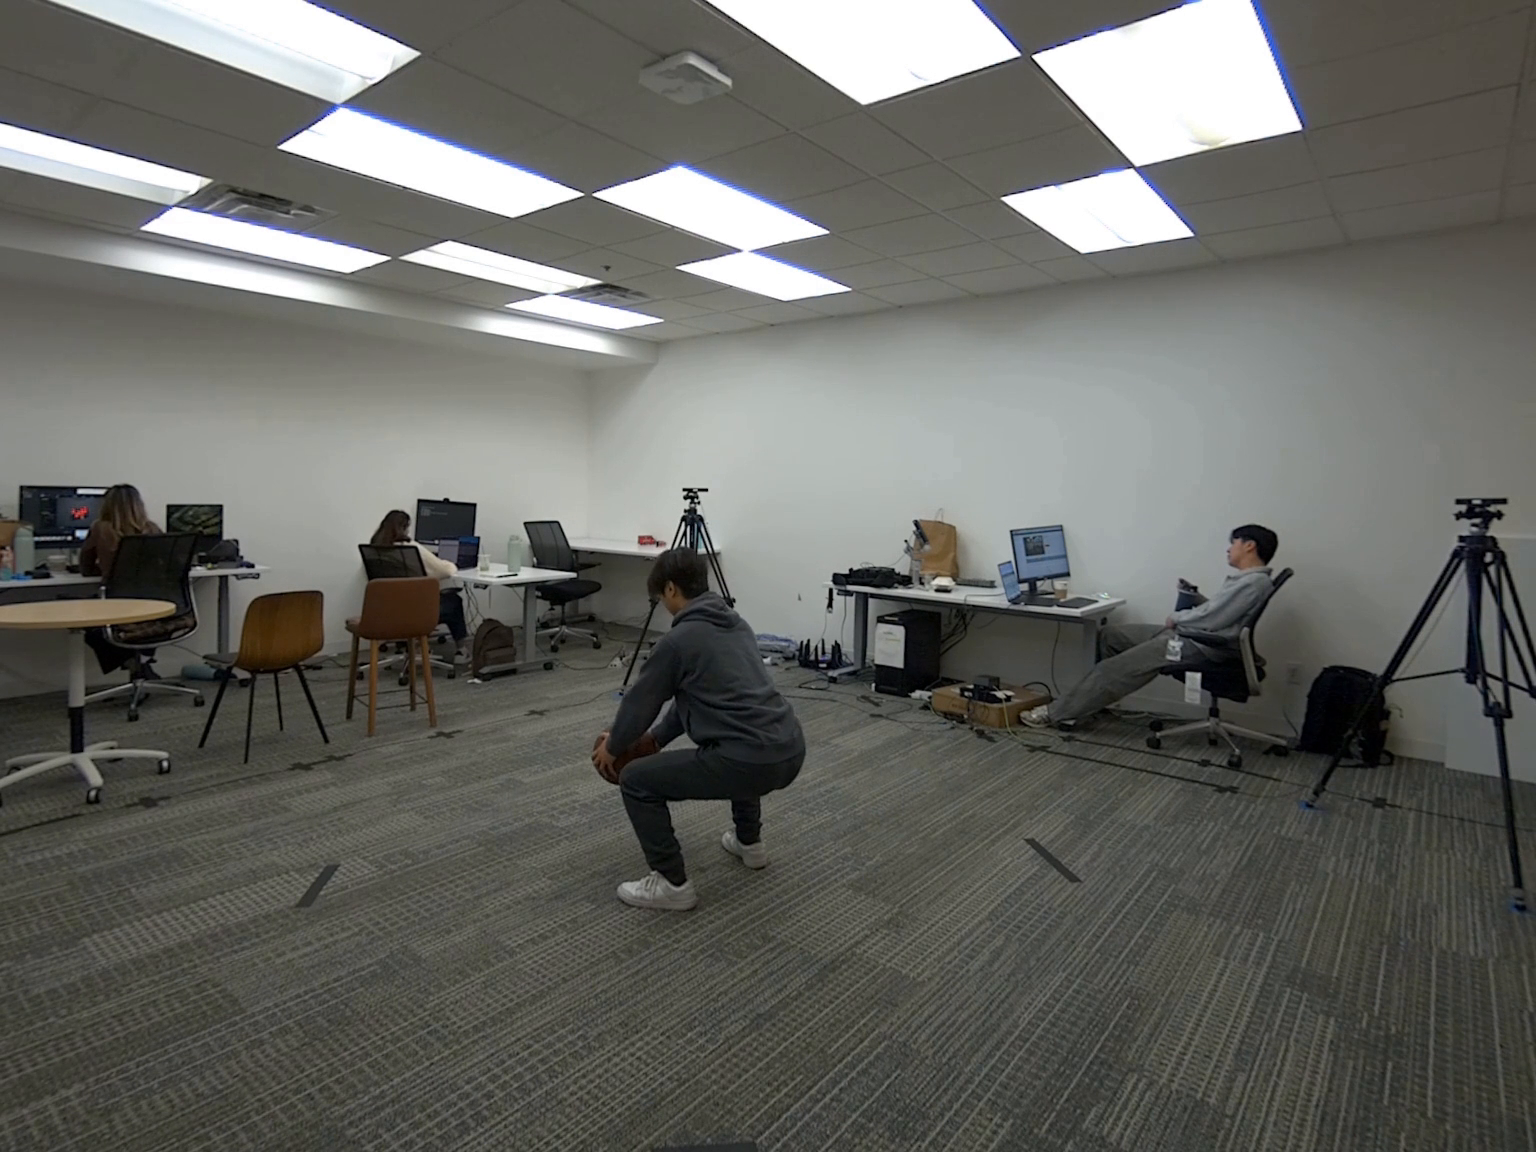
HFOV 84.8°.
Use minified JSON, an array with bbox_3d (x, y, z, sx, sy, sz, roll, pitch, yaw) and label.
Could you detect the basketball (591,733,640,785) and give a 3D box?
[{"bbox_3d":[-0.560,0.680,3.290,0.235,0.235,0.237,1,4,-2],"label":"basketball"}]
